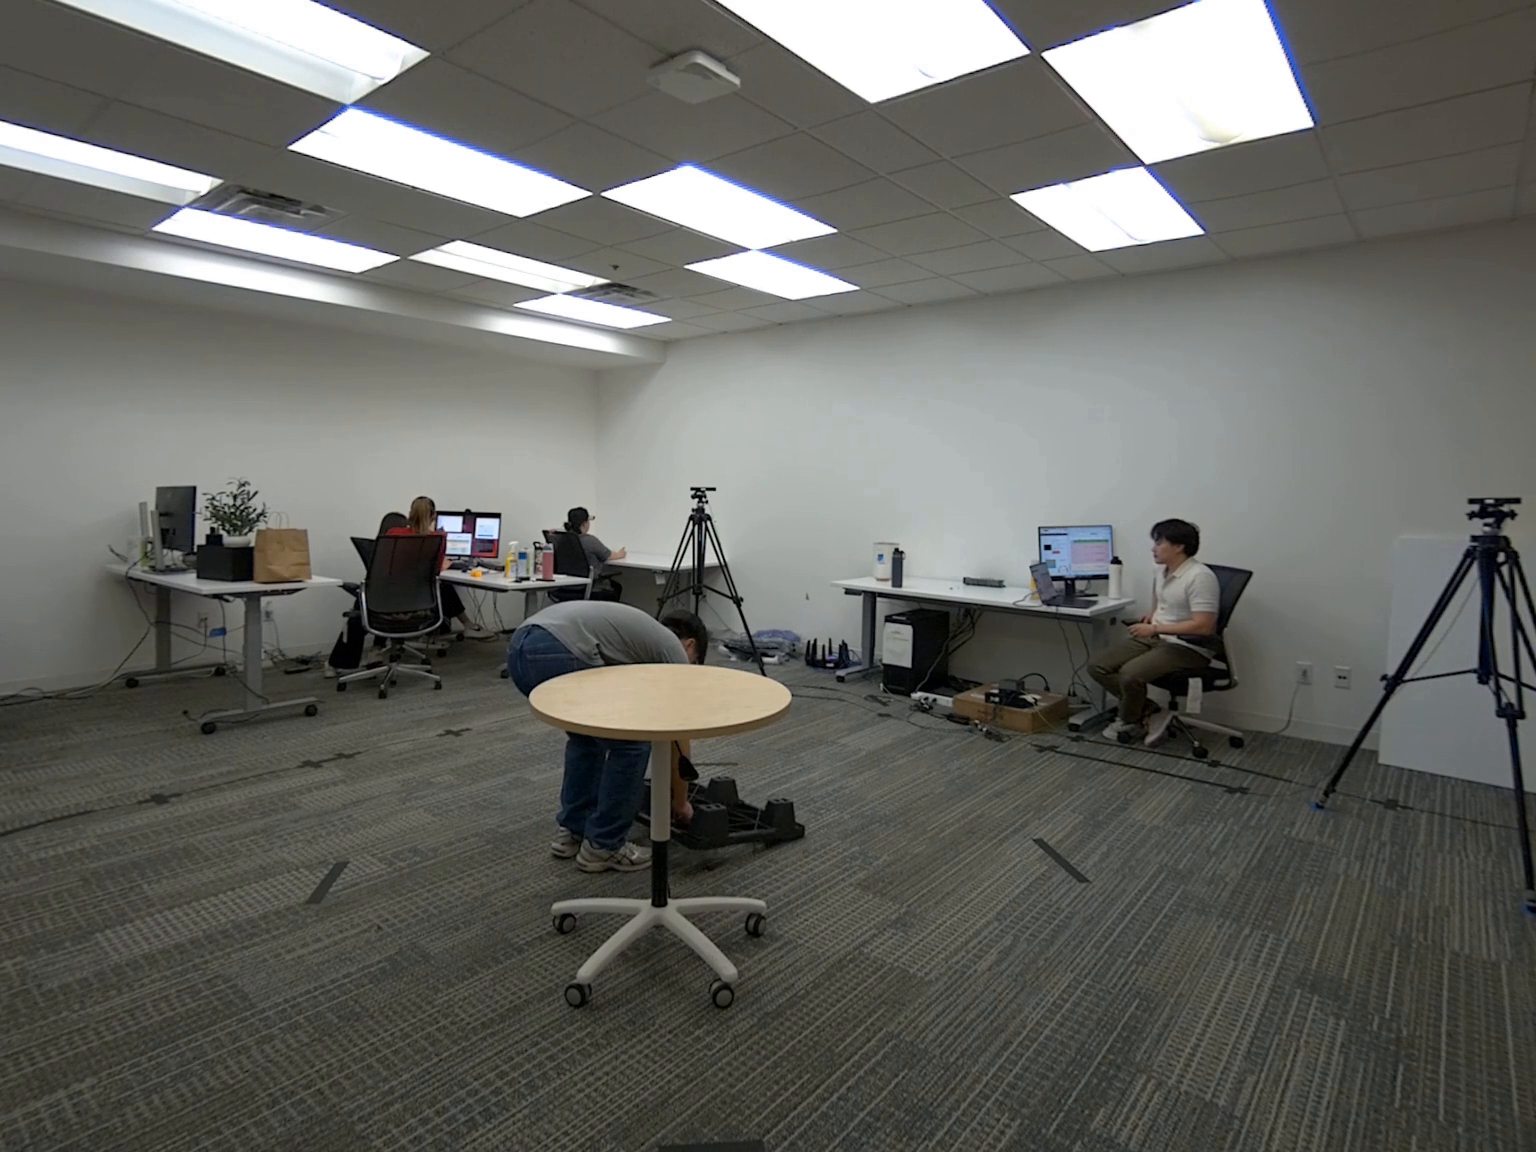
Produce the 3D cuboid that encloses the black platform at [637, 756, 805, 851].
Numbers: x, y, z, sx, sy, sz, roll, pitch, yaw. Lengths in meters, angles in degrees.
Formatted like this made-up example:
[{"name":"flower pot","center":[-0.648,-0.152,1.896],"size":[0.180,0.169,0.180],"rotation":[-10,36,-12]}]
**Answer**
[{"name":"black platform","center":[-0.338,0.910,3.515],"size":[0.583,0.143,0.833],"rotation":[9,-2,-44]}]
